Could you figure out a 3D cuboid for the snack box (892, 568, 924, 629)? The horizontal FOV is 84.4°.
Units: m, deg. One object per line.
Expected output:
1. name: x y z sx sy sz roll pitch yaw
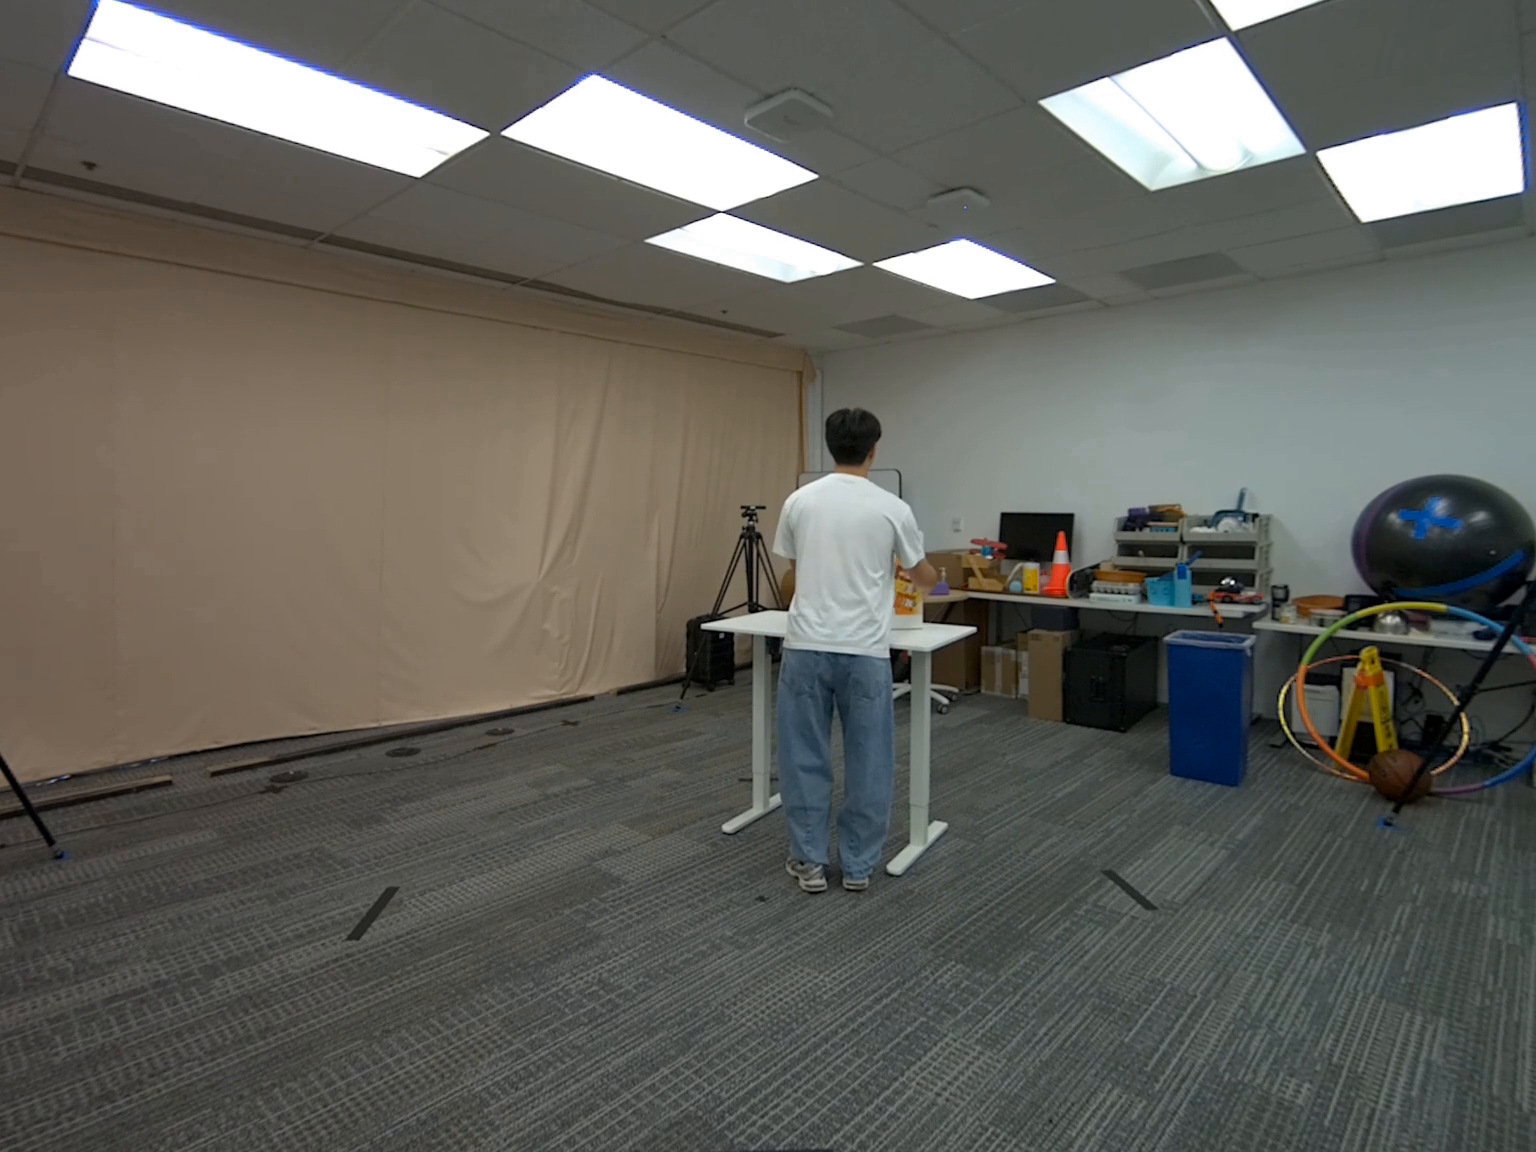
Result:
1. snack box: 0.460 0.005 3.543 0.340 0.404 0.207 -1 4 -2
